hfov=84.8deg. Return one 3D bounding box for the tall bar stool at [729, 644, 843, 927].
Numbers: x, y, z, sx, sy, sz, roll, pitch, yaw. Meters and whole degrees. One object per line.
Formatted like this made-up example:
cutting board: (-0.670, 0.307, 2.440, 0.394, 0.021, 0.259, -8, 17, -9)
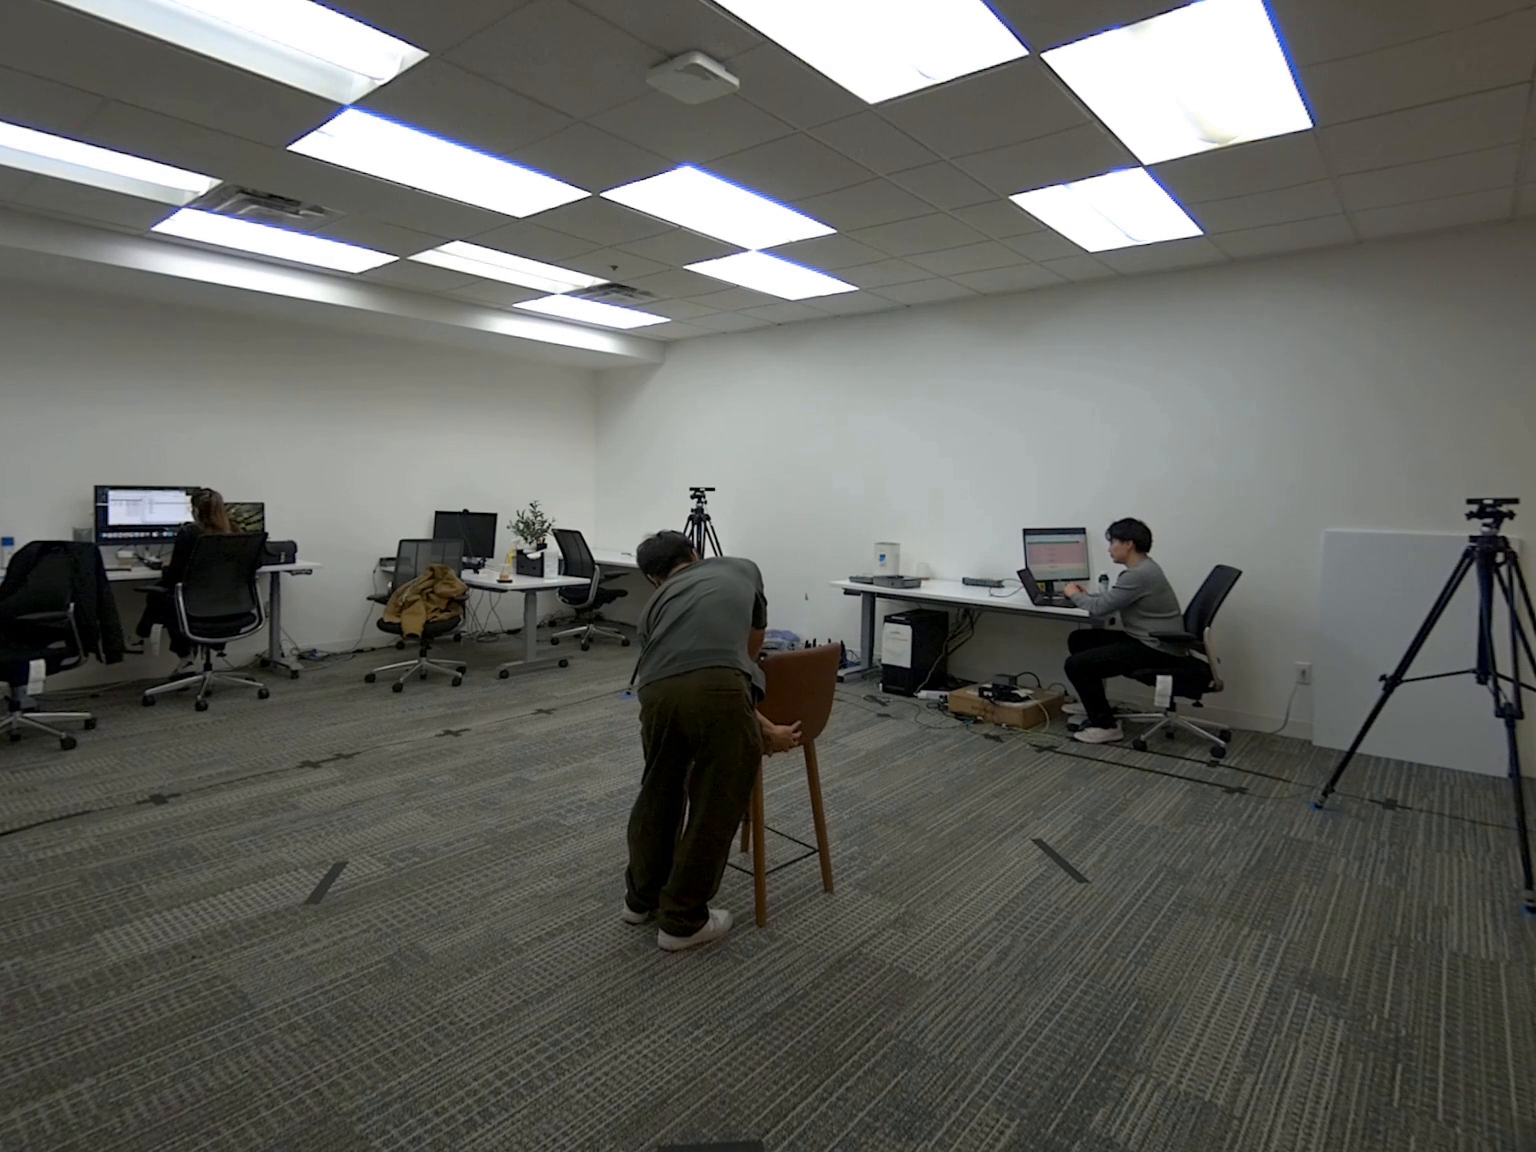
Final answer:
tall bar stool: (-0.051, 0.646, 2.965, 0.484, 0.887, 0.442, 6, 6, 44)
